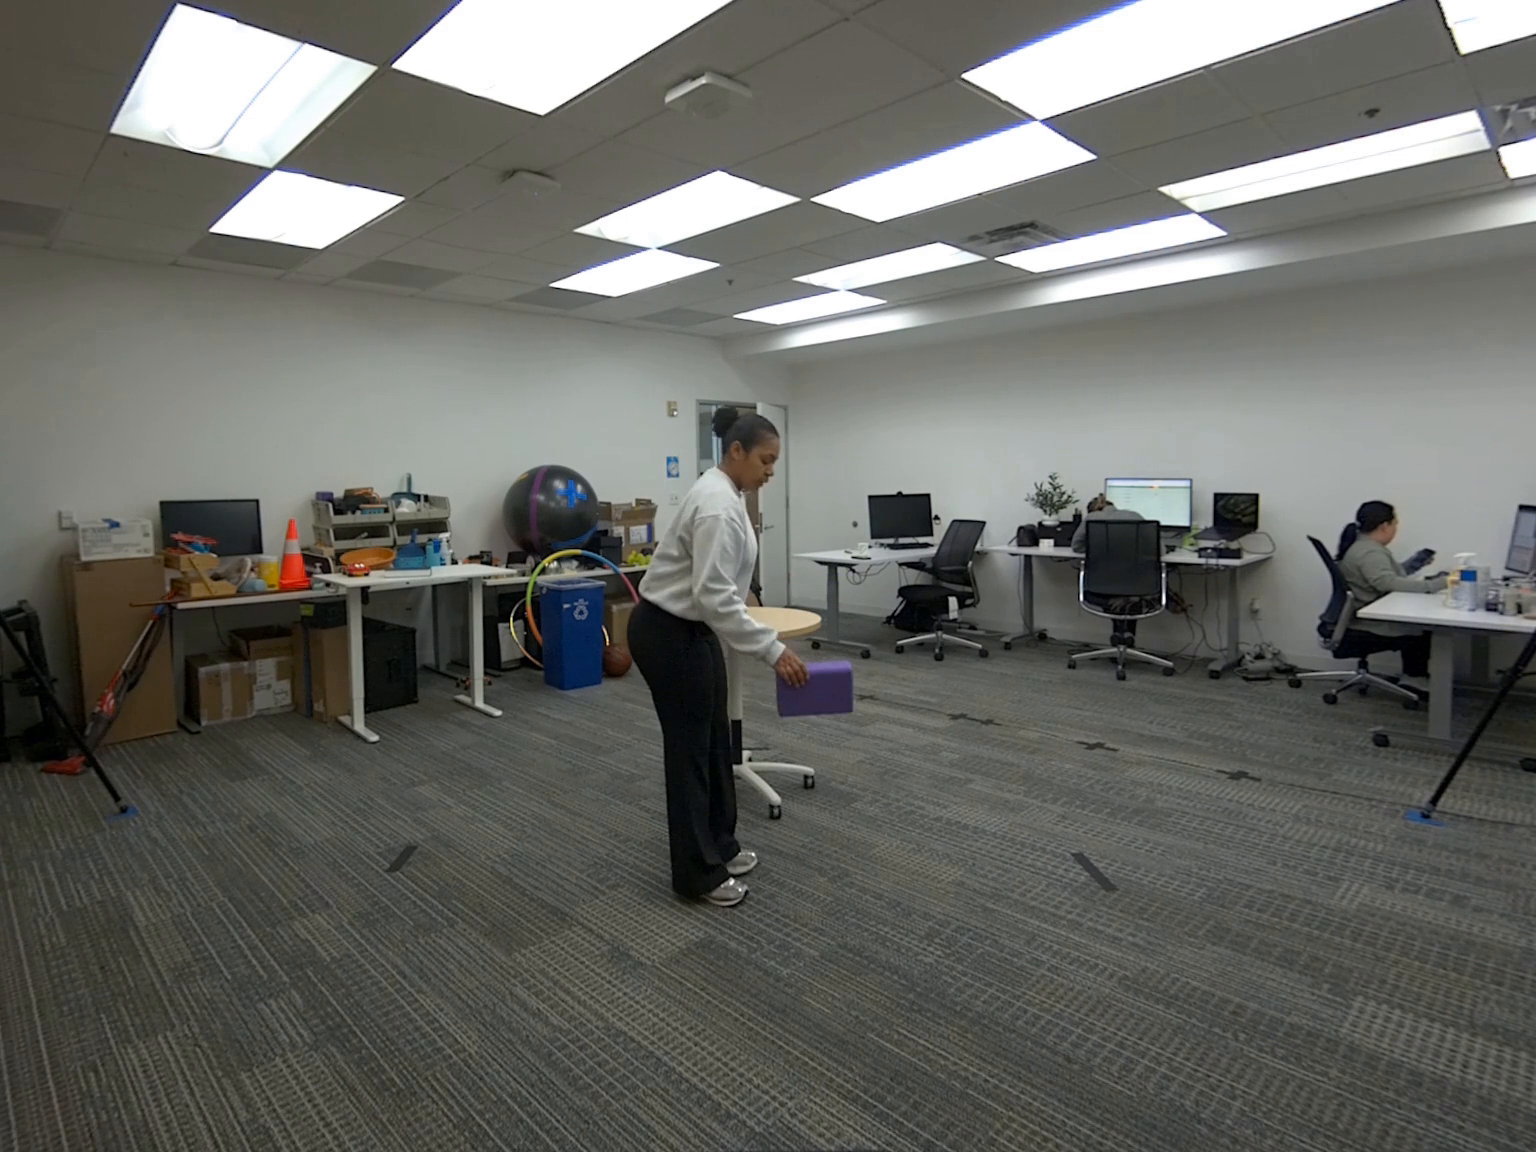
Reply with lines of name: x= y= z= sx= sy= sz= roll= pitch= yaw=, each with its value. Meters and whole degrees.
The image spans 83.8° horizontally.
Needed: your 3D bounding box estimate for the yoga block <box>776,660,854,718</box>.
yoga block: x=0.140 y=0.341 z=2.613 sx=0.229 sy=0.147 sz=0.077 roll=-1 pitch=11 yaw=-1
